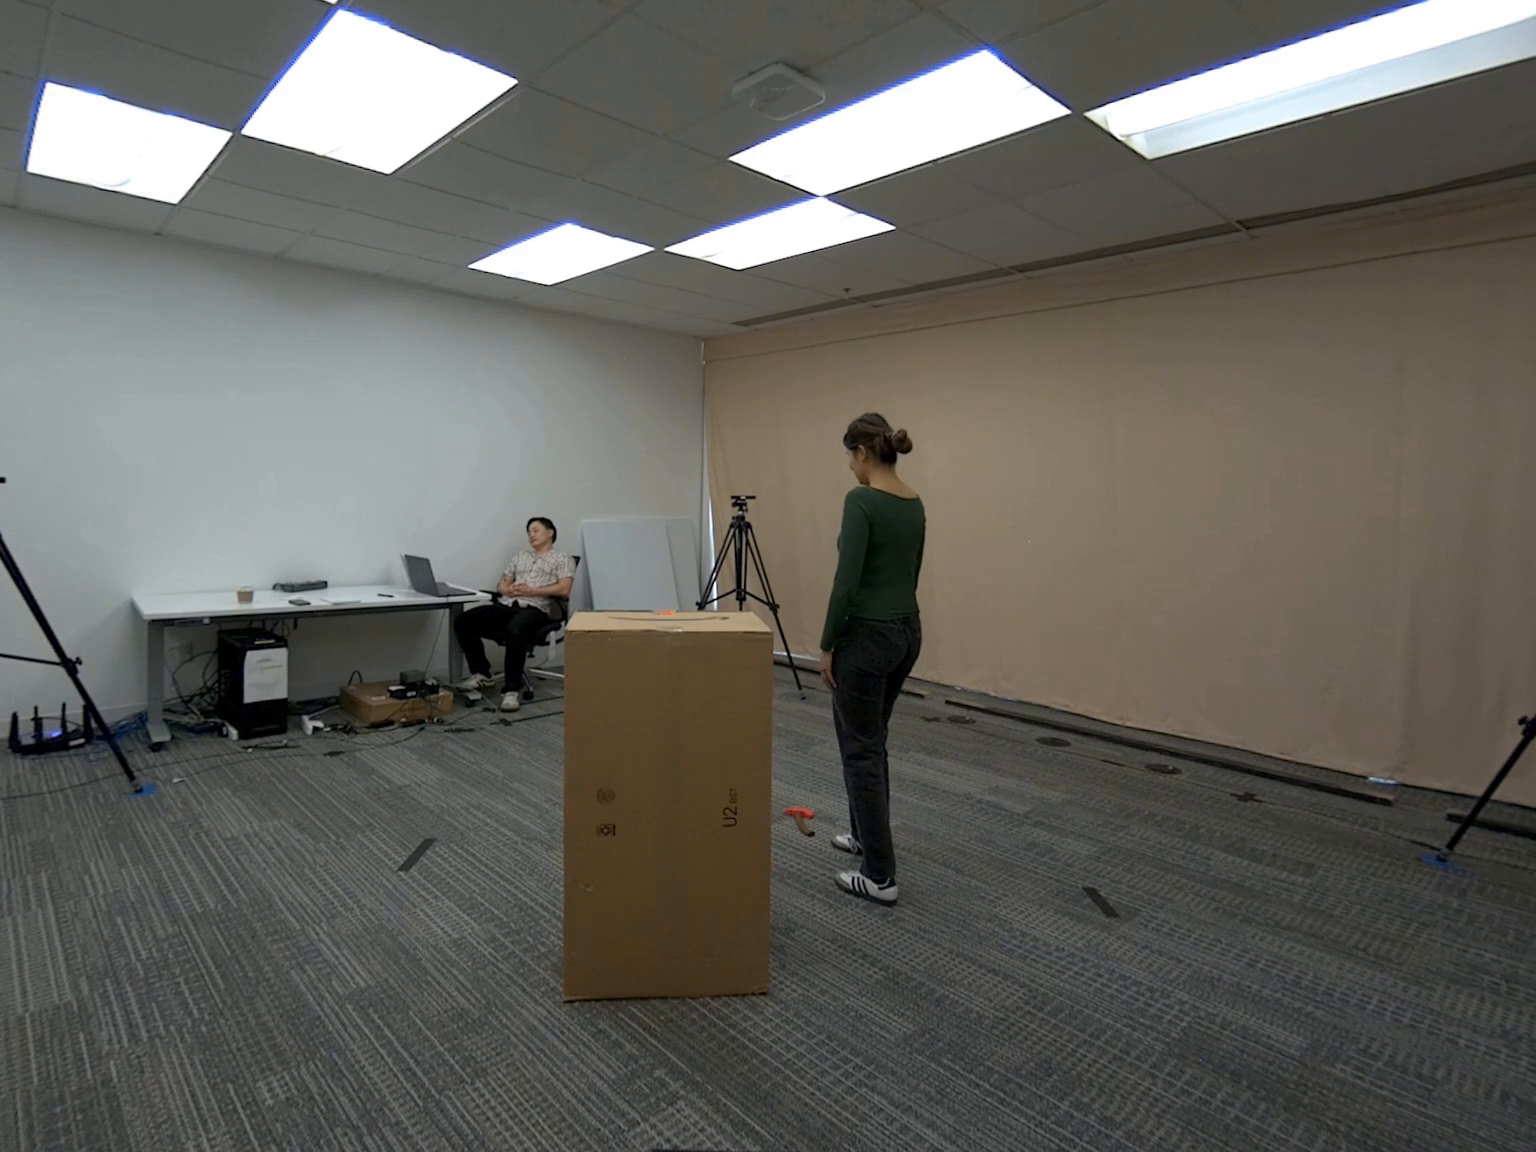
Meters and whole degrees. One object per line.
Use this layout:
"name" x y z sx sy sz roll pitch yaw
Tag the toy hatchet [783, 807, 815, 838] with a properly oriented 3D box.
"toy hatchet" 0.158 1.048 3.604 0.129 0.029 0.275 0 6 -20
